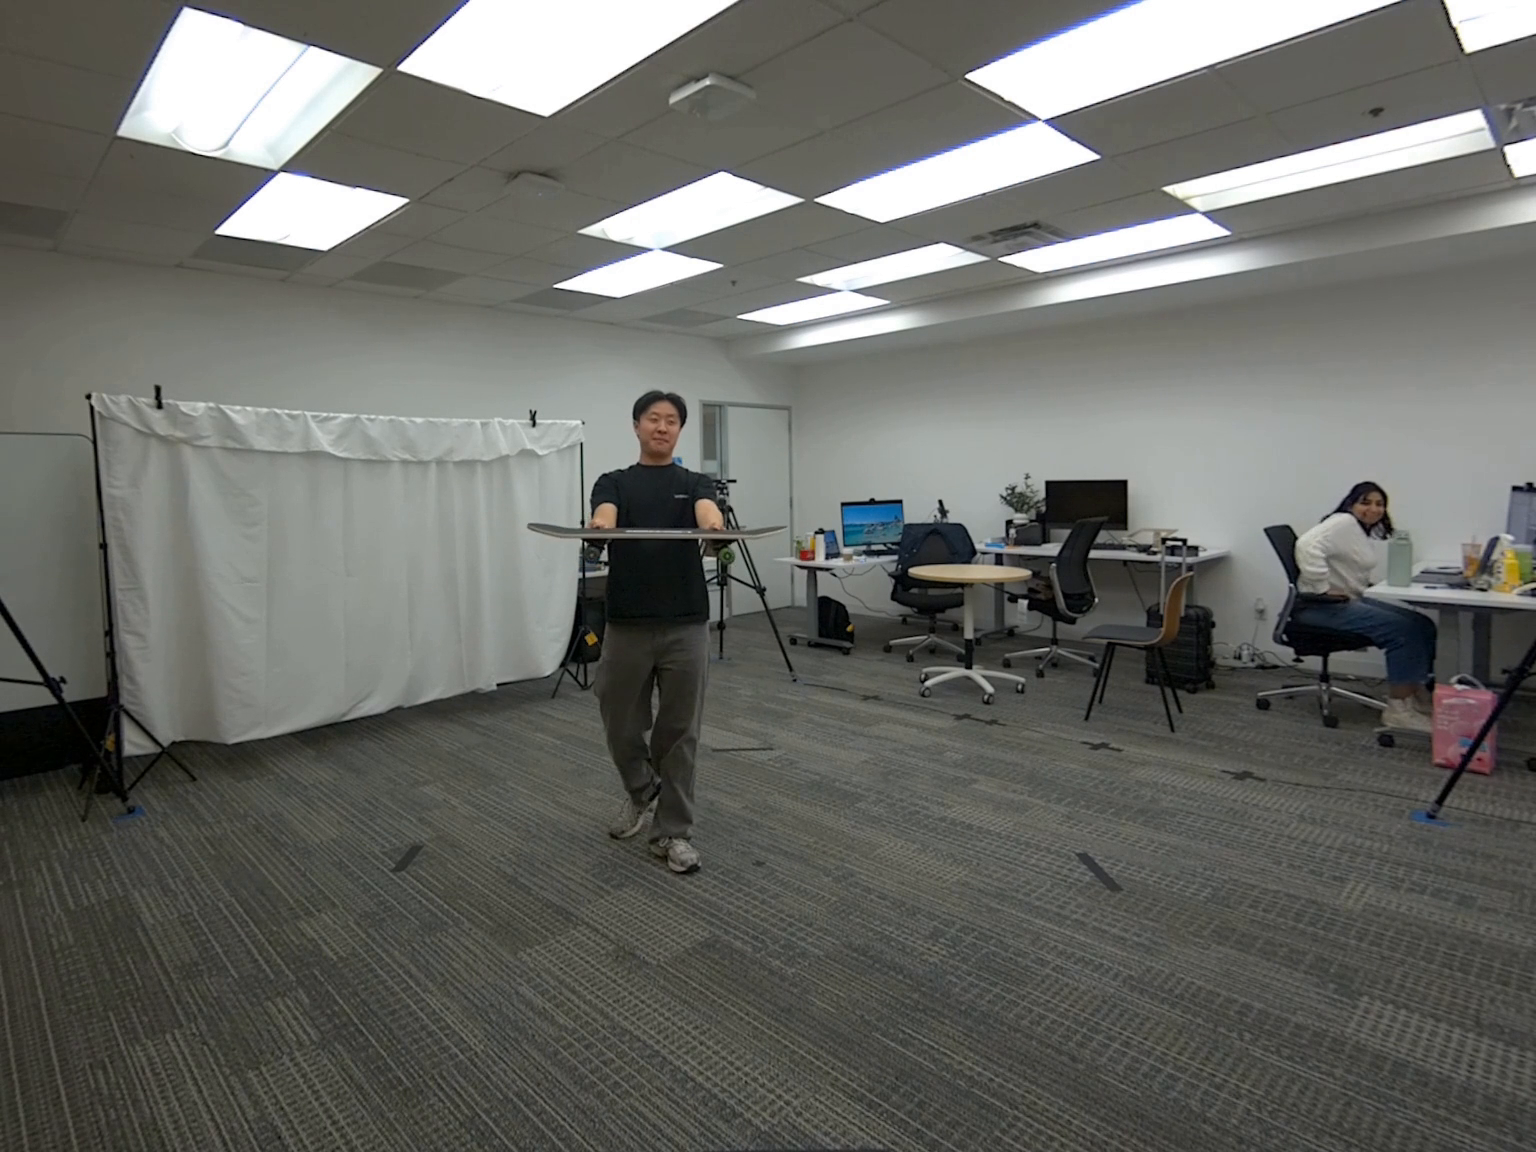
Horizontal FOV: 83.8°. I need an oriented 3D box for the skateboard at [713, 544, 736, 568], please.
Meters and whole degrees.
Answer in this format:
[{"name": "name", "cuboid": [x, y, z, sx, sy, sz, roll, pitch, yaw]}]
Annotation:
[{"name": "skateboard", "cuboid": [-0.349, -0.092, 2.591, 0.780, 0.109, 0.196, 1, 8, -6]}]
